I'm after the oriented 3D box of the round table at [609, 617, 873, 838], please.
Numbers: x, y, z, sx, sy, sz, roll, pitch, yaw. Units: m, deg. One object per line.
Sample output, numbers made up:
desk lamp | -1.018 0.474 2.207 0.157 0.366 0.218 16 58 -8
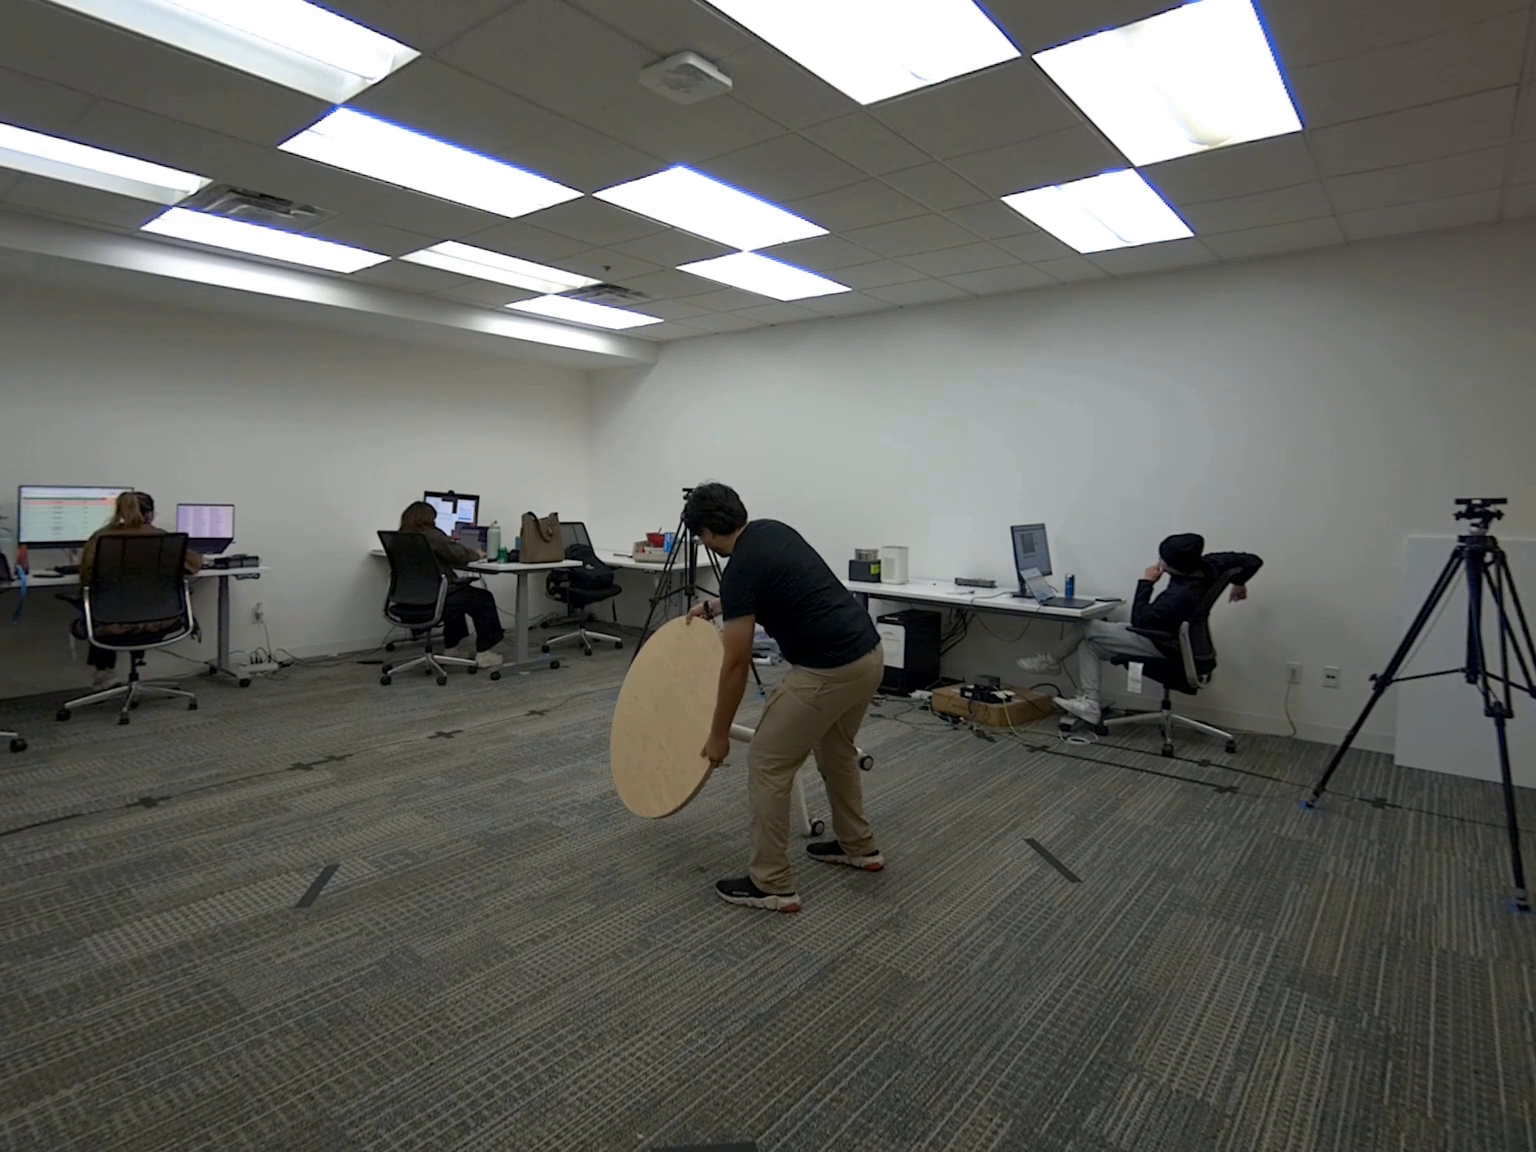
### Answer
round table | -0.113 0.641 3.448 0.757 0.789 0.811 25 -10 -34
